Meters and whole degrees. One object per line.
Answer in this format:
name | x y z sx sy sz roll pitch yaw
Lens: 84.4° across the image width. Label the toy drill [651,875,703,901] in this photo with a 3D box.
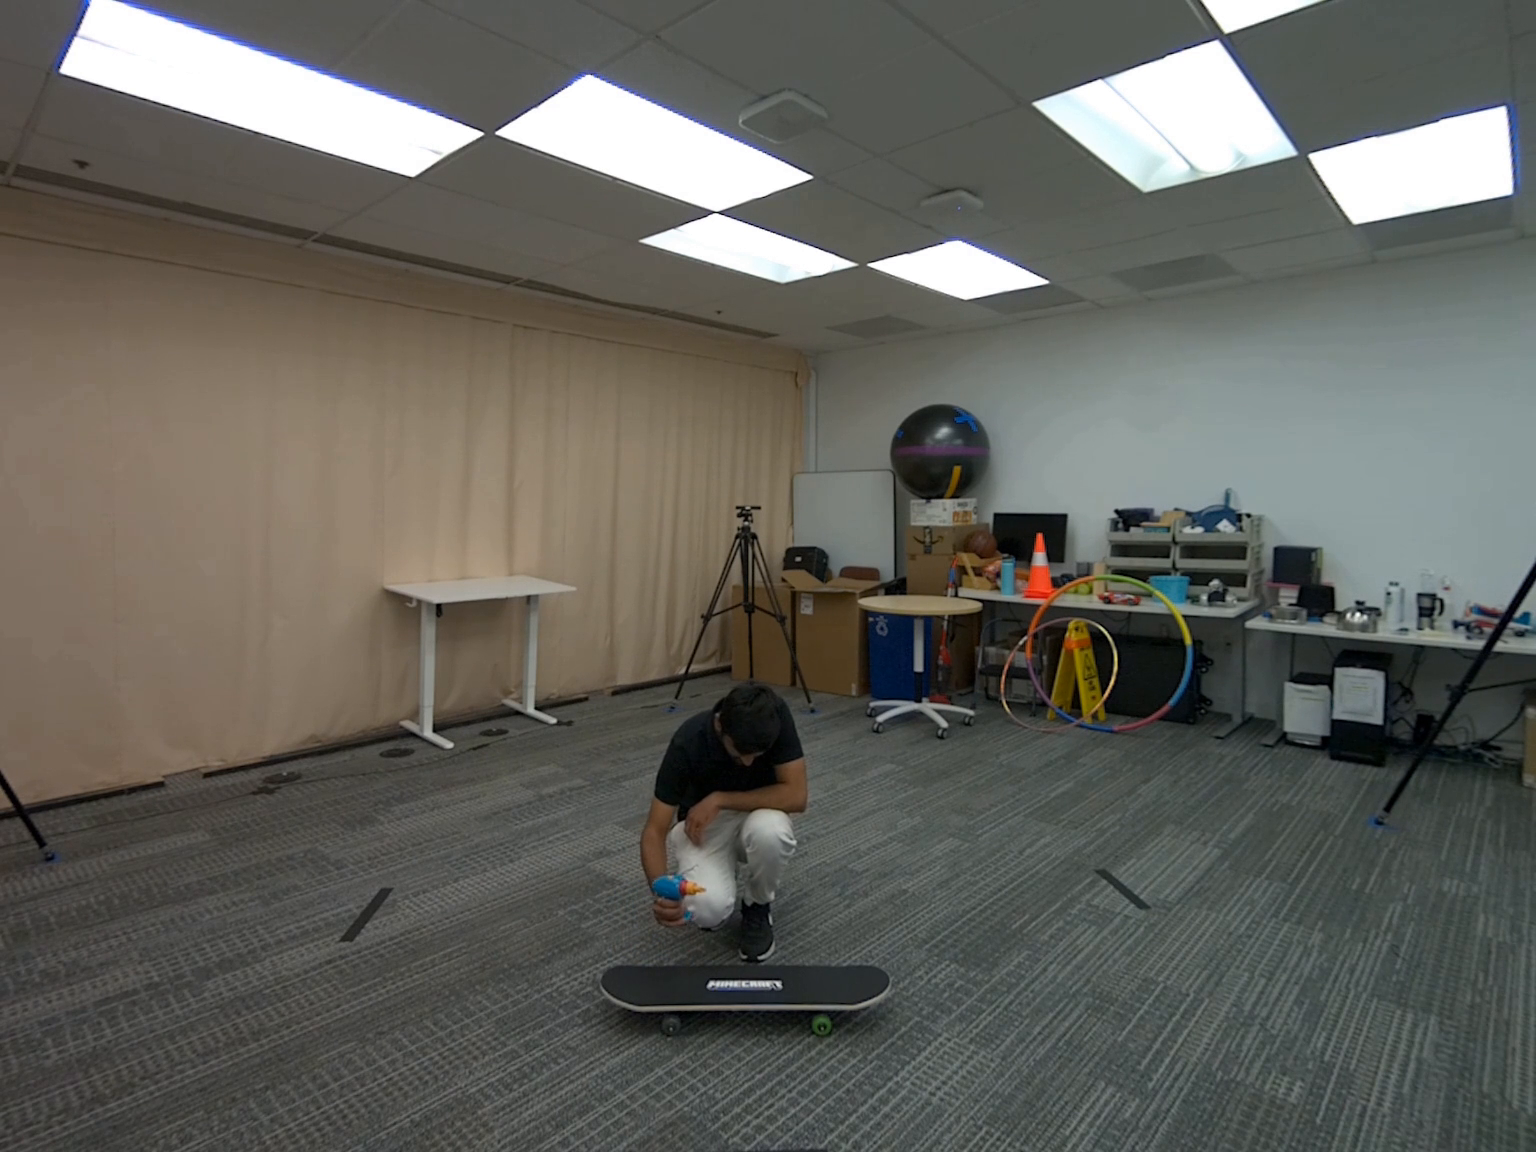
toy drill | -0.228 0.872 2.291 0.174 0.144 0.060 -5 21 30
